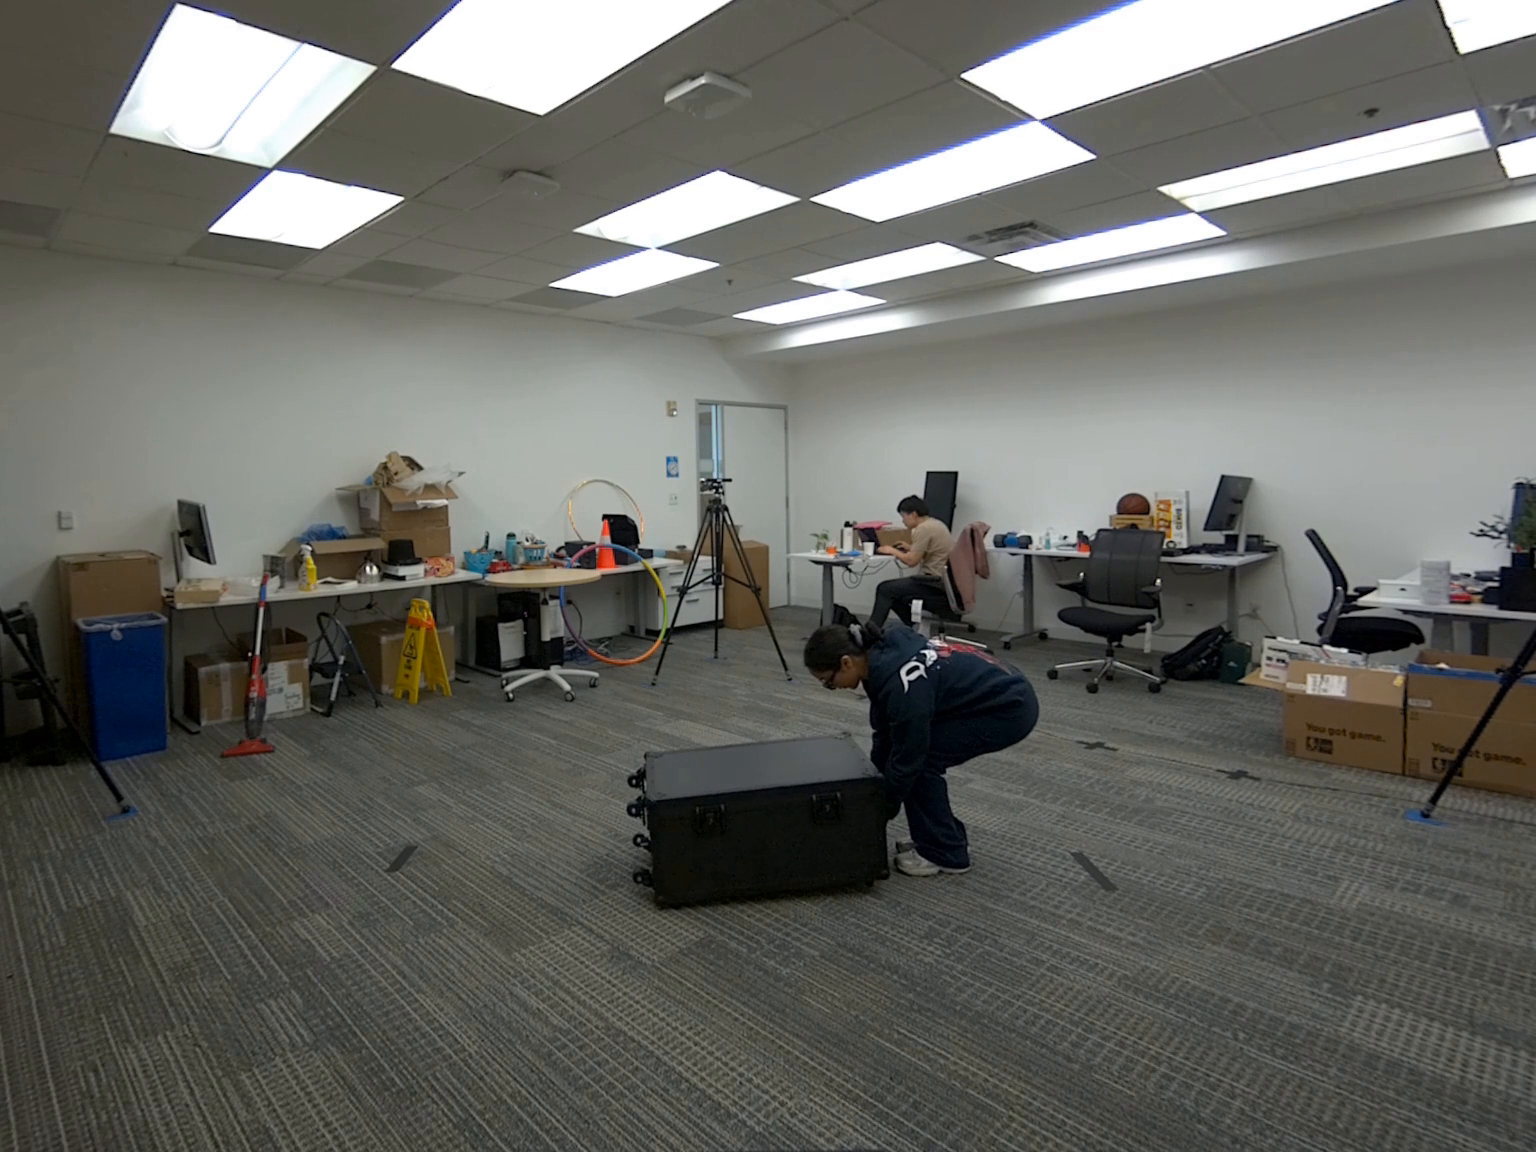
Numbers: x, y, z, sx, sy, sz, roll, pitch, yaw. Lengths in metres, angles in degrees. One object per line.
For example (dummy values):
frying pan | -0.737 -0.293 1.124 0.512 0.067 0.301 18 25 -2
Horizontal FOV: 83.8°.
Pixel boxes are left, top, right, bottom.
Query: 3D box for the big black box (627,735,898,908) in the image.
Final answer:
big black box | -0.060 0.839 3.026 0.856 0.394 0.527 -3 6 -7
